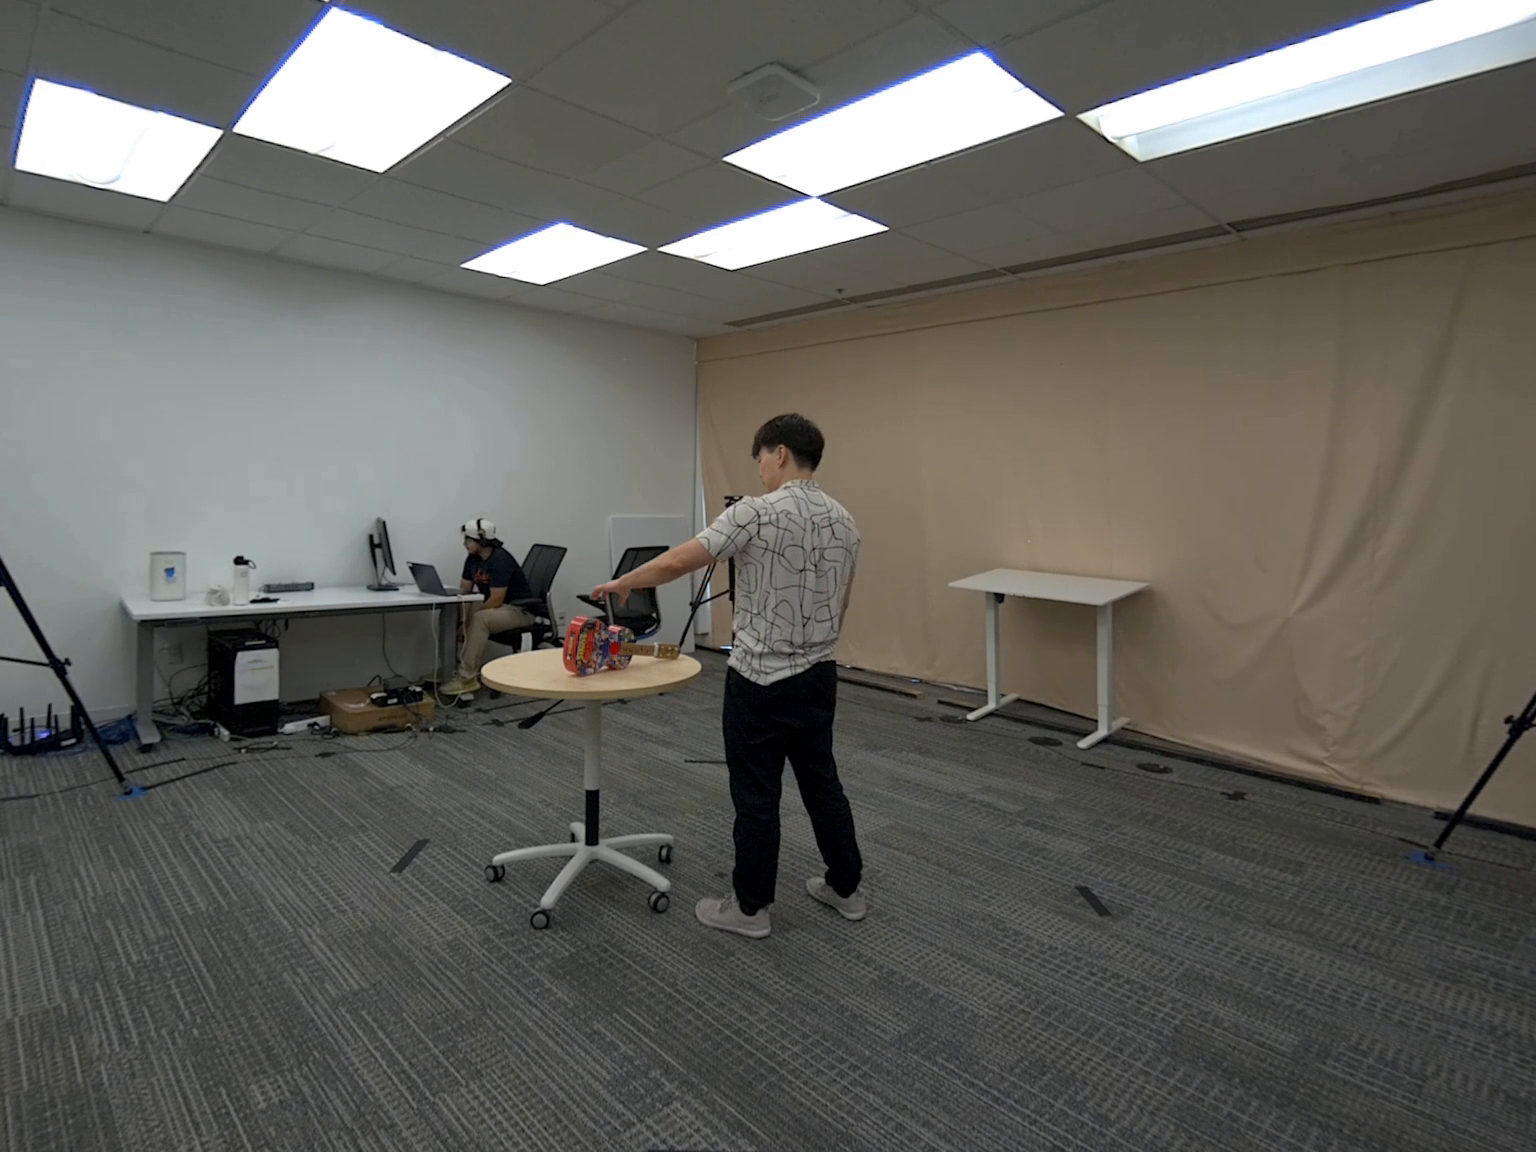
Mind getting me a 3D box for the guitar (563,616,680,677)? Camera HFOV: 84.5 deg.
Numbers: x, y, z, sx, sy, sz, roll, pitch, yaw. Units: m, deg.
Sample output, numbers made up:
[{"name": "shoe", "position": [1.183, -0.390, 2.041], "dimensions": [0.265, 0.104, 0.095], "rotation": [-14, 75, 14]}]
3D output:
[{"name": "guitar", "position": [-0.508, 0.280, 2.962], "dimensions": [0.072, 0.194, 0.483], "rotation": [4, -13, 39]}]
